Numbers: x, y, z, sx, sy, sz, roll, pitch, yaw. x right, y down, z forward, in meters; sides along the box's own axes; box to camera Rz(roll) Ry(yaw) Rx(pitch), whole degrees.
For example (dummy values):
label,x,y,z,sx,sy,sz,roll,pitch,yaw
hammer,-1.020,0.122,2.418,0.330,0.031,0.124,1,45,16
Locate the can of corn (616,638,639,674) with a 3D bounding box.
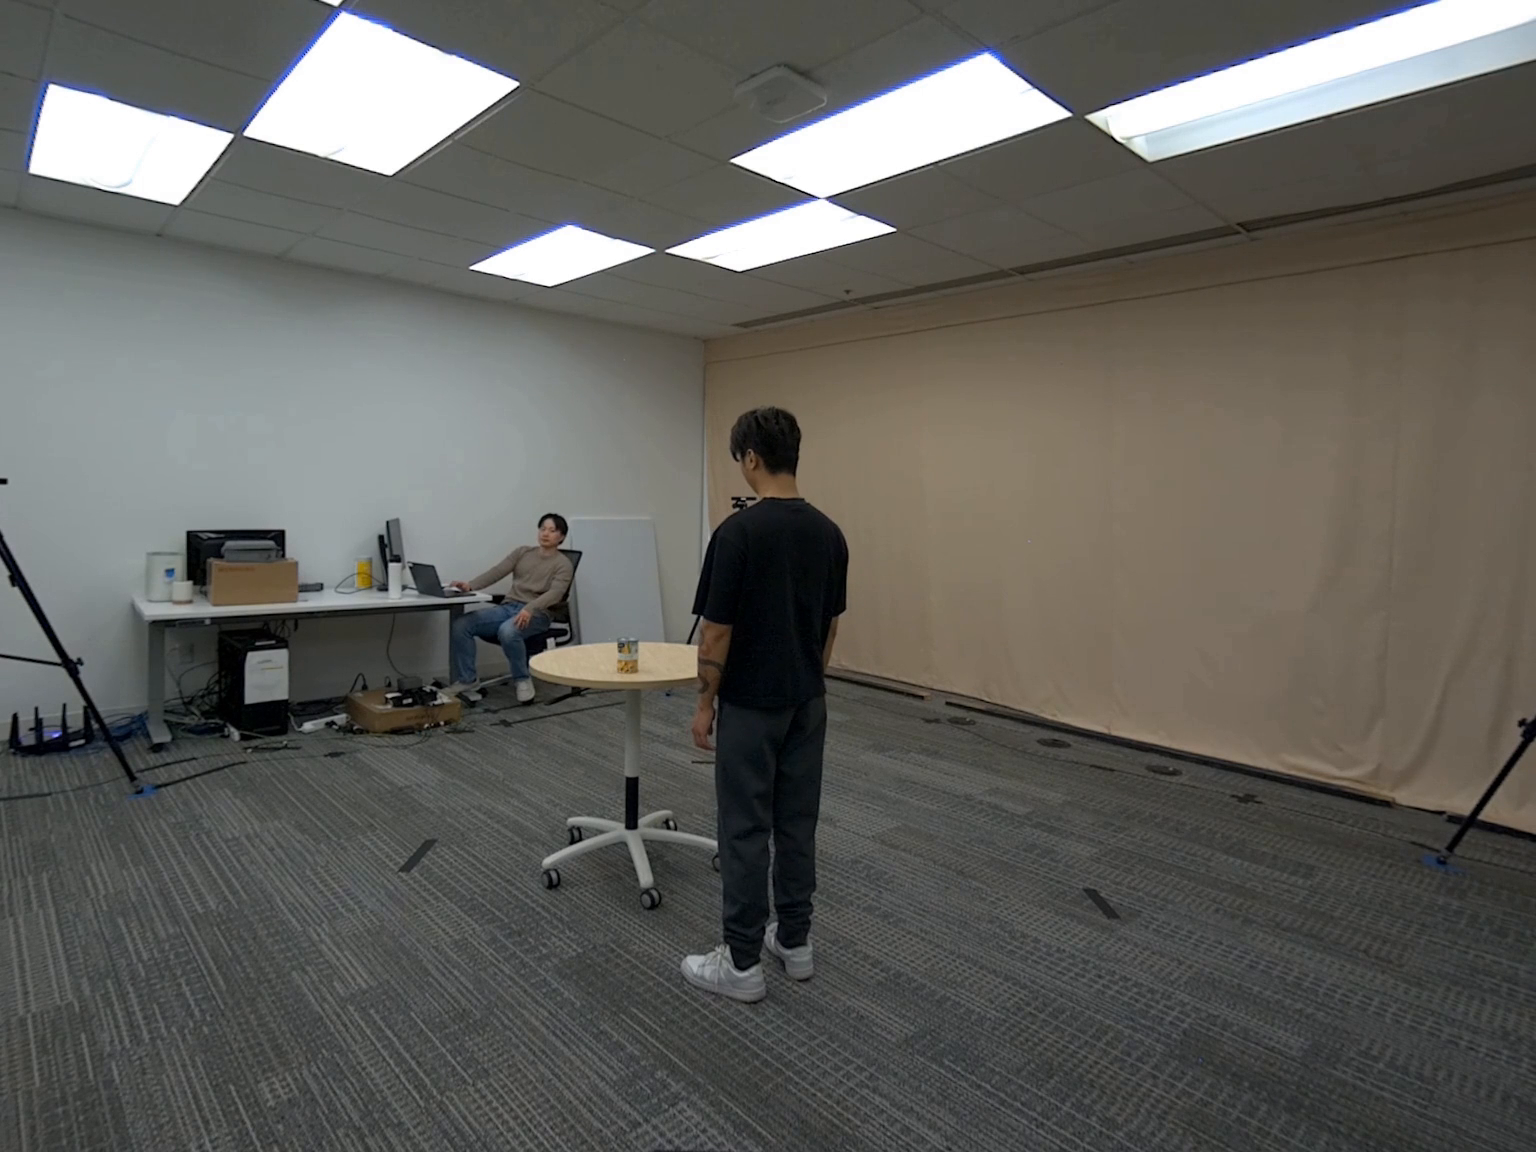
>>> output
label,x,y,z,sx,sy,sz,roll,pitch,yaw
can of corn,-0.492,0.277,2.917,0.074,0.110,0.074,0,5,-1
